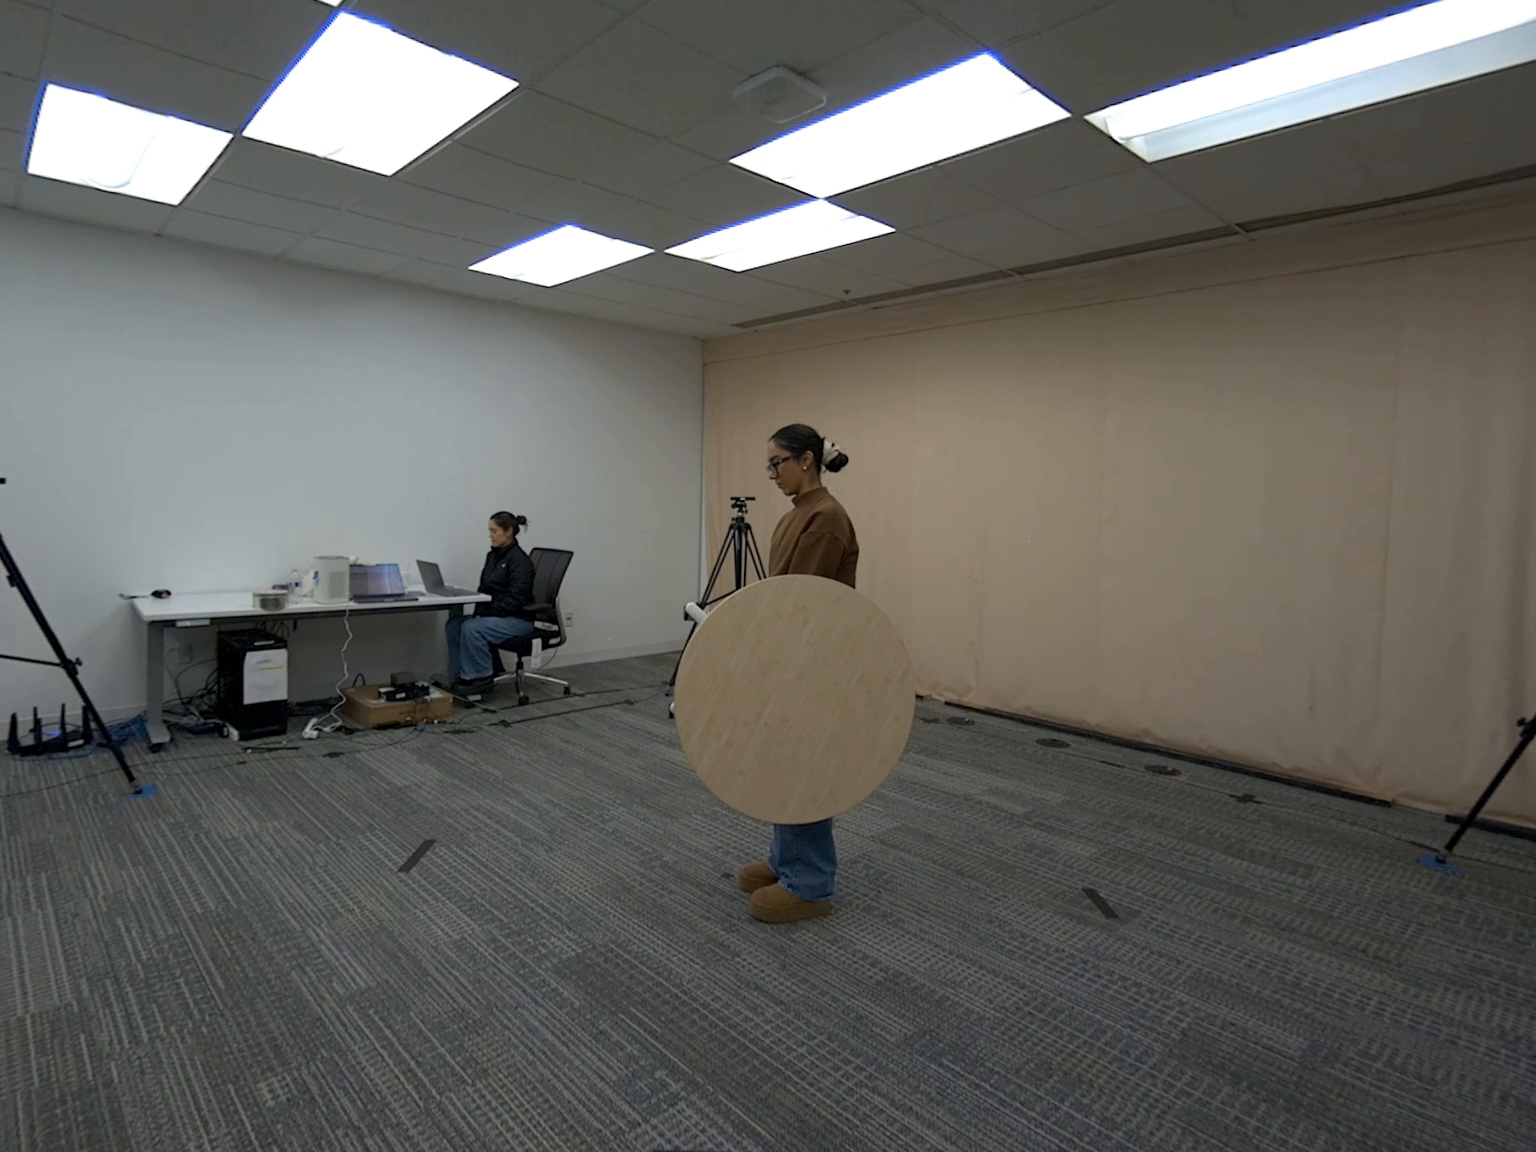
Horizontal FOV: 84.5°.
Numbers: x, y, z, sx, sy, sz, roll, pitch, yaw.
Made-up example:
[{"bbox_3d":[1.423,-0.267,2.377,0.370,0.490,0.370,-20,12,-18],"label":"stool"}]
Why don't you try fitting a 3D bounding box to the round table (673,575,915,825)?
[{"bbox_3d":[0.001,0.379,2.983,0.756,0.765,0.801,0,-1,-12],"label":"round table"}]
